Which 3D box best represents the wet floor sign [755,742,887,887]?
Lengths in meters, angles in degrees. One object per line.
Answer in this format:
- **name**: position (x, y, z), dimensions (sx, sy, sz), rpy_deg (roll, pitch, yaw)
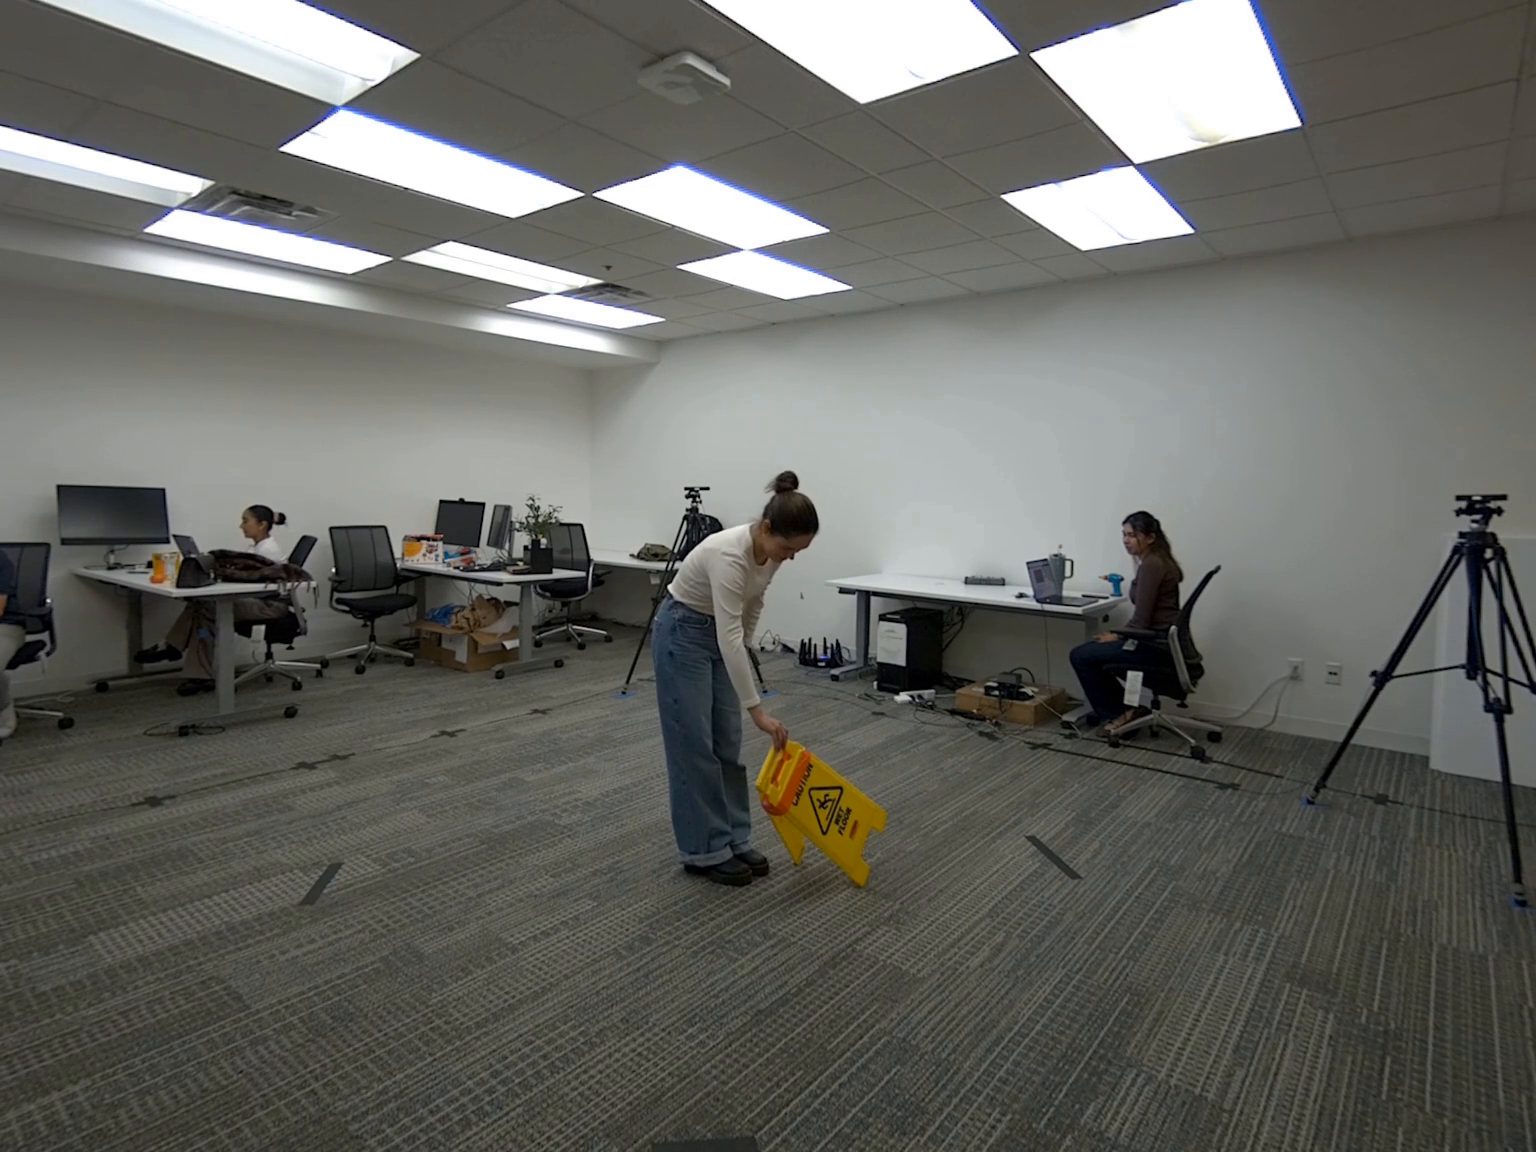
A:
- **wet floor sign**: position (0.126, 0.780, 2.946), dimensions (0.299, 0.285, 0.620), rpy_deg (2, -37, 38)
